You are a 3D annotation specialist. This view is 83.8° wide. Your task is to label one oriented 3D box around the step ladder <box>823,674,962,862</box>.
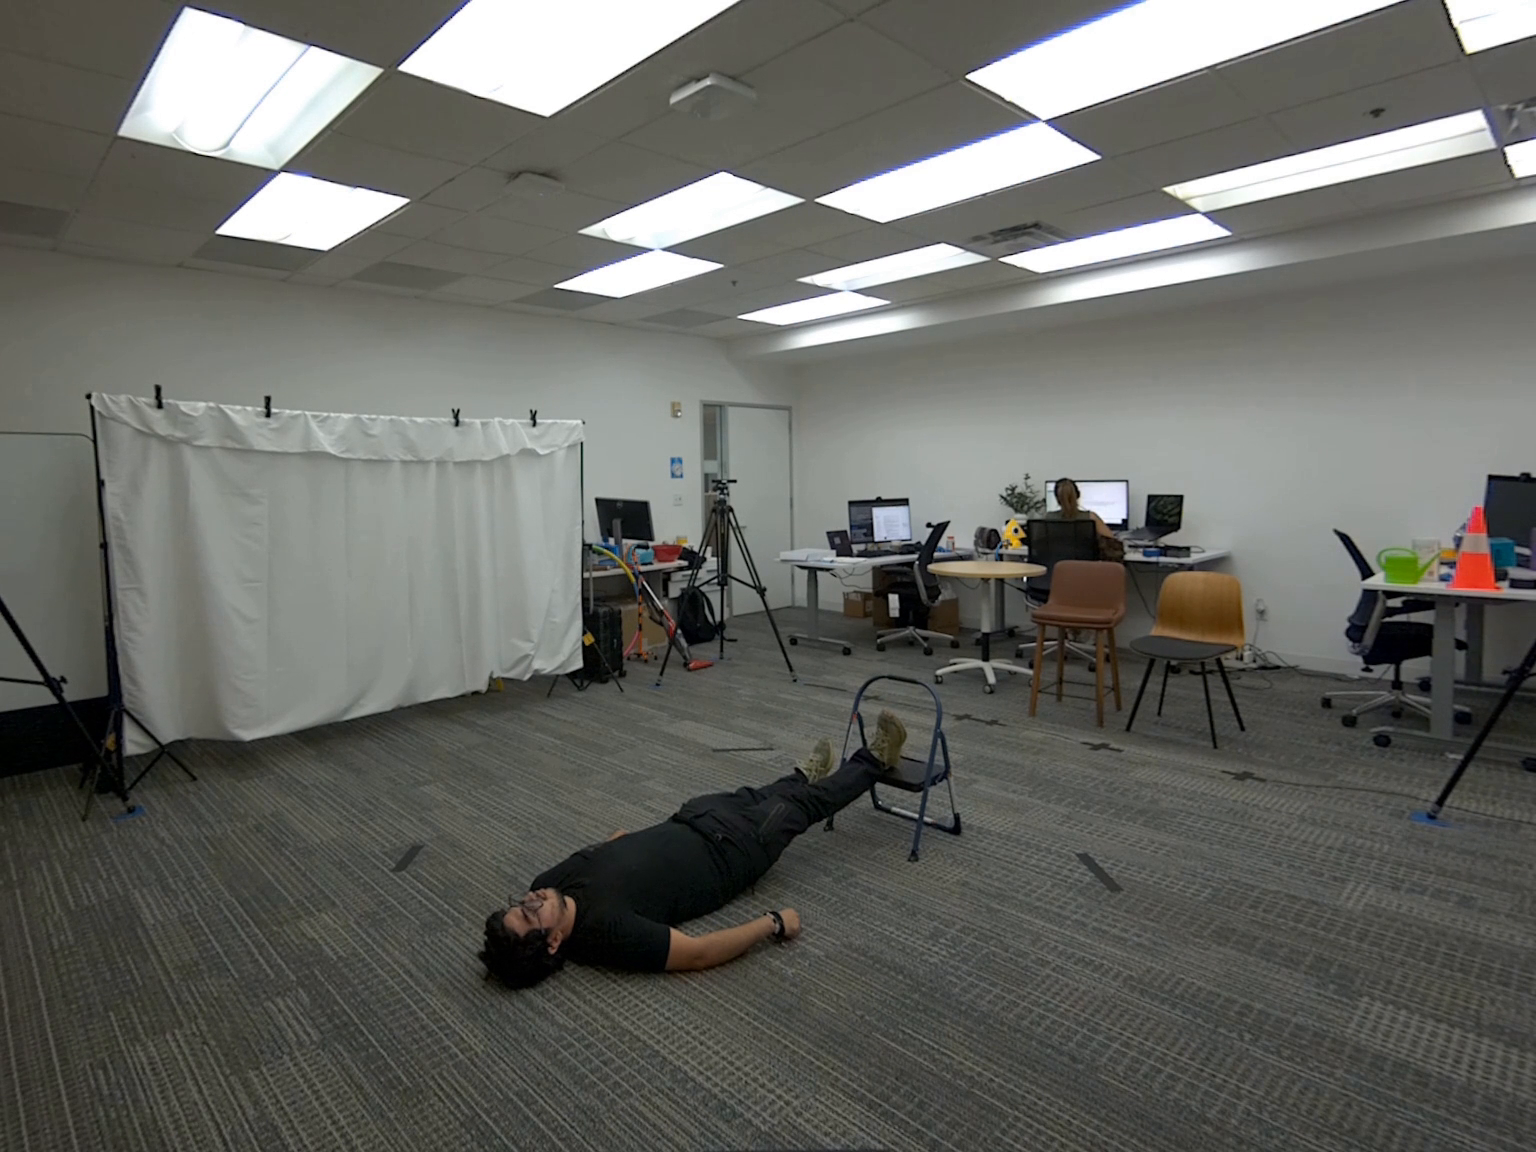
[{"bbox_3d":[0.494,0.708,3.354,0.444,0.604,0.340,4,6,44],"label":"step ladder"}]
